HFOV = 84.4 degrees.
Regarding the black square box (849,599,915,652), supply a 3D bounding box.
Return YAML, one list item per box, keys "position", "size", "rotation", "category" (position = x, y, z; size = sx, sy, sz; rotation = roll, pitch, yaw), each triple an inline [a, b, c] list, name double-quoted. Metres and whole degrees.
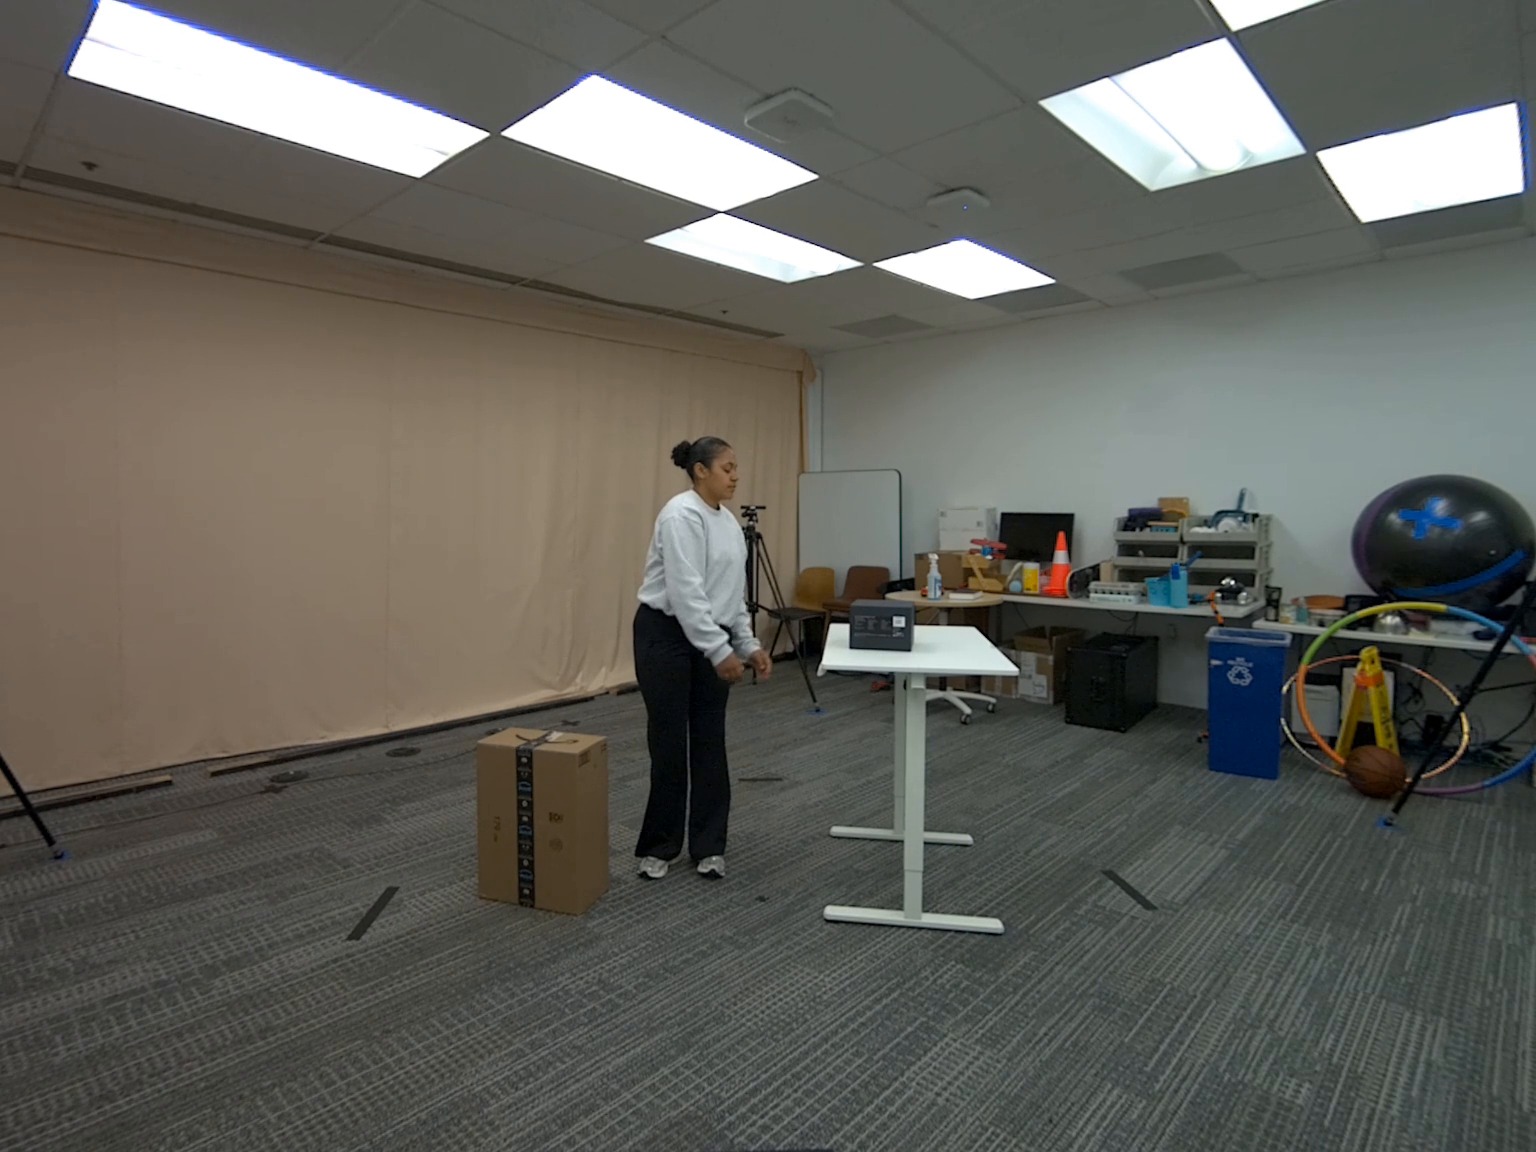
- position: [0.416, 0.176, 3.045]
  size: [0.220, 0.156, 0.225]
  rotation: [1, 3, 12]
  category: "black square box"
